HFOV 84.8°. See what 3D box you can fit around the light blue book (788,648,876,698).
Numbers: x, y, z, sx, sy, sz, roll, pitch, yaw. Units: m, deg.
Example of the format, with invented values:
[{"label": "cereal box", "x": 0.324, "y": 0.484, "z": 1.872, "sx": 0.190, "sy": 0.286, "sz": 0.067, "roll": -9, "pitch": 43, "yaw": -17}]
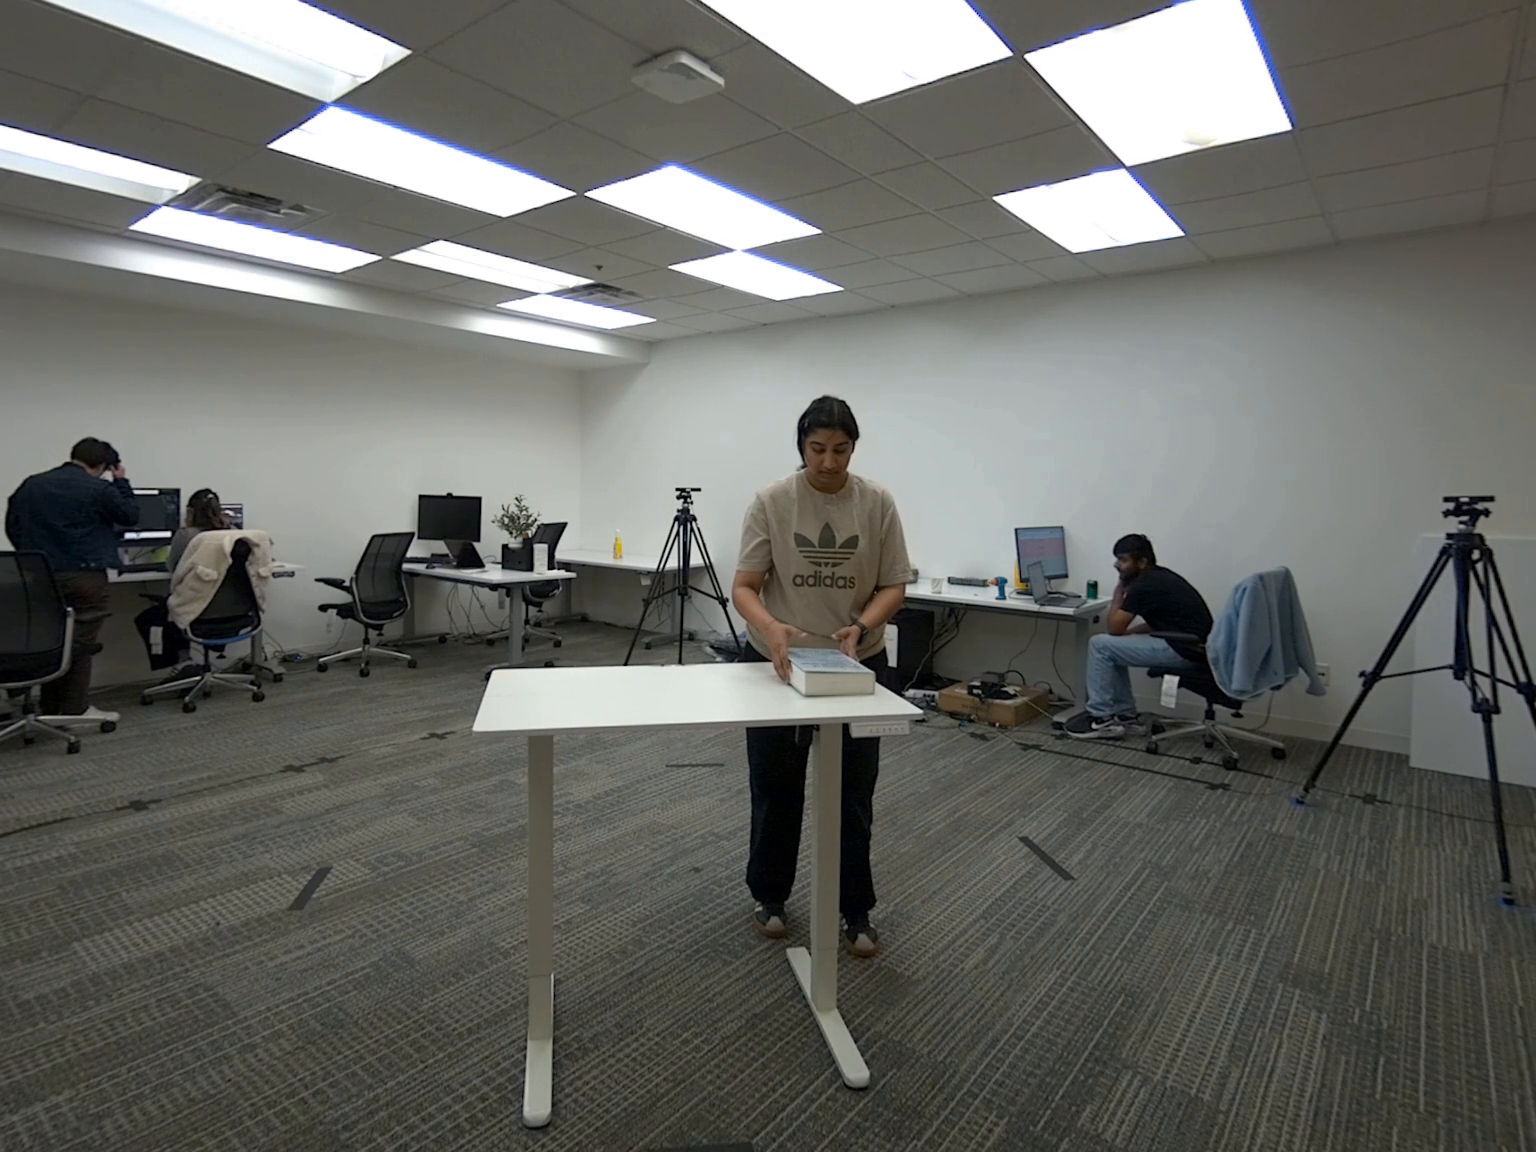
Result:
[{"label": "light blue book", "x": 0.155, "y": 0.250, "z": 2.172, "sx": 0.257, "sy": 0.059, "sz": 0.195, "roll": 4, "pitch": 6, "yaw": -12}]
